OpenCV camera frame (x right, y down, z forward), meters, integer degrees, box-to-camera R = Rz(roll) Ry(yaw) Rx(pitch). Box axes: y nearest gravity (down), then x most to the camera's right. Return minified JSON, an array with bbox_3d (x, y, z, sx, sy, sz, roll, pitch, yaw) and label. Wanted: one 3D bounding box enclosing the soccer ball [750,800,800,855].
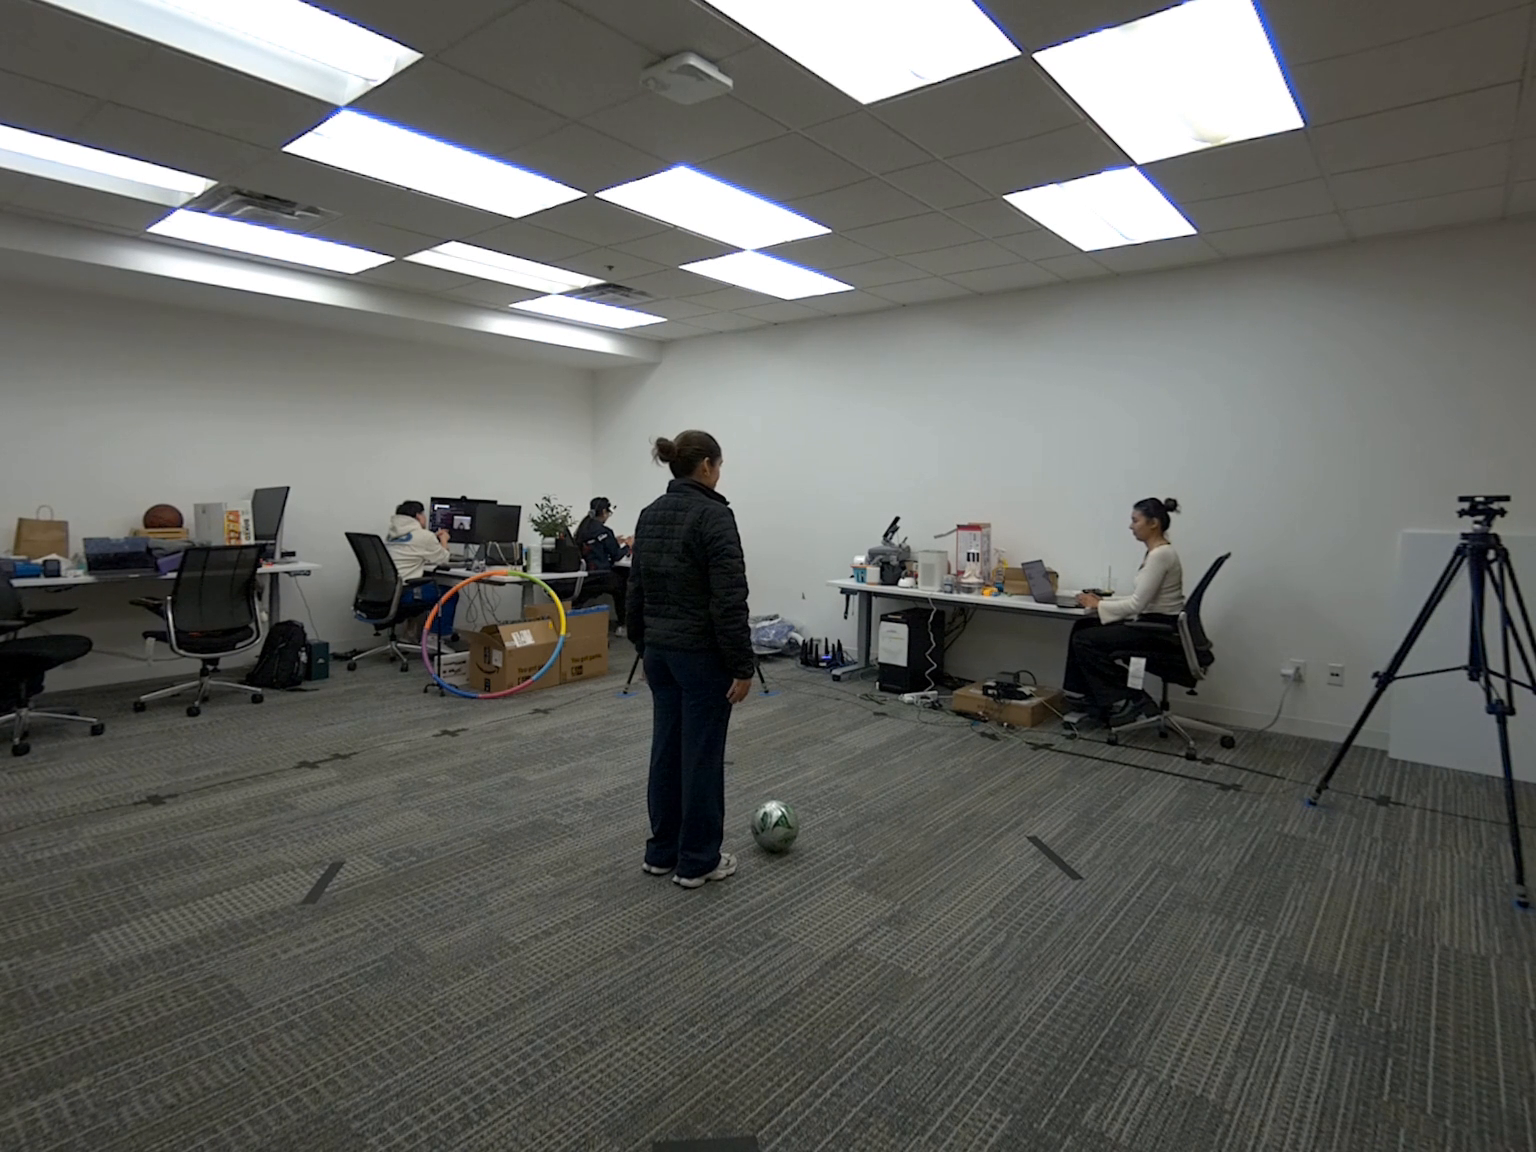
[{"bbox_3d":[0.014,0.957,3.275,0.187,0.187,0.188,1,4,-2],"label":"soccer ball"}]
